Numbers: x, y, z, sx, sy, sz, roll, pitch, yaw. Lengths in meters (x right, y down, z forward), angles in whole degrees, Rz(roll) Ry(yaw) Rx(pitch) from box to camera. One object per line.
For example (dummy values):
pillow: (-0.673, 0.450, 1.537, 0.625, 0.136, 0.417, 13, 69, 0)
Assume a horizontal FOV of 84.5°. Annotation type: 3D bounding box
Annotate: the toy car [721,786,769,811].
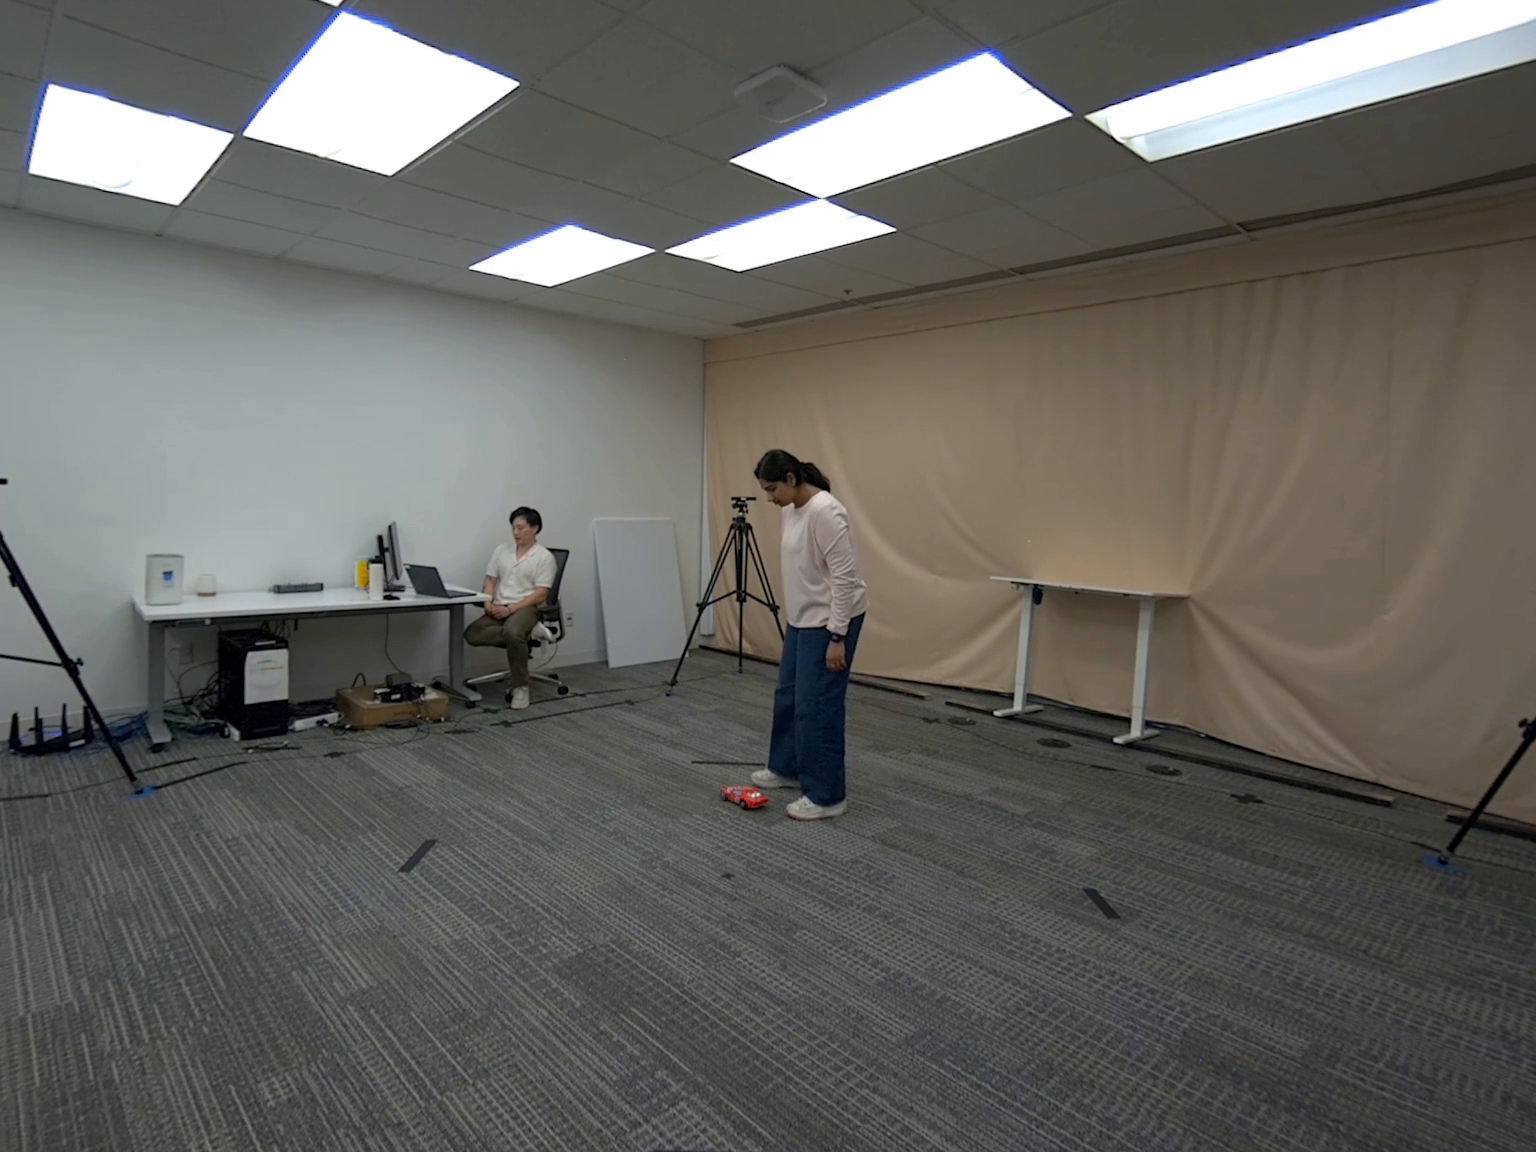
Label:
toy car: (-0.111, 1.006, 3.848, 0.127, 0.083, 0.259, -1, -6, -40)
